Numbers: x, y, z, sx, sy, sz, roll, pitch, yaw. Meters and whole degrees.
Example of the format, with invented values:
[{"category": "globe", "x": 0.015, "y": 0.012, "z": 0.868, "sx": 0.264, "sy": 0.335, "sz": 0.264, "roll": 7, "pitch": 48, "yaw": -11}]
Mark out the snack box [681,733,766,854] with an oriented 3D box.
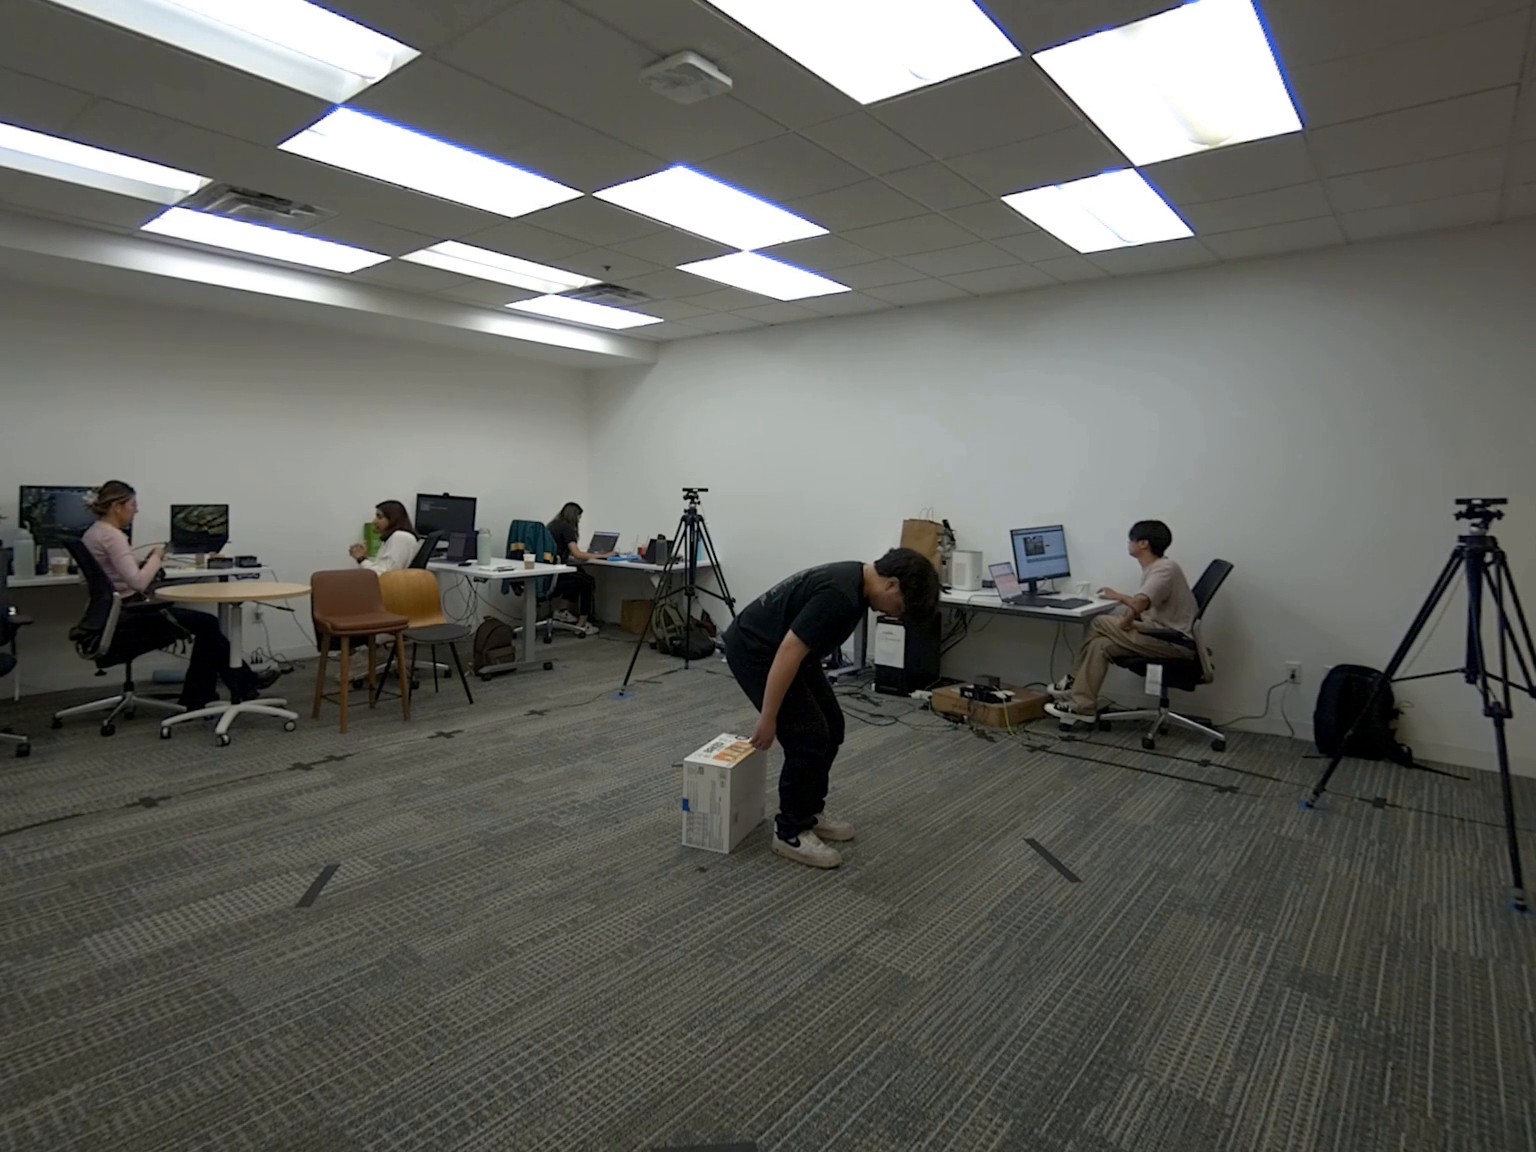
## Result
[{"category": "snack box", "x": -0.178, "y": 0.864, "z": 3.449, "sx": 0.210, "sy": 0.339, "sz": 0.397, "roll": 3, "pitch": 5, "yaw": 20}]
